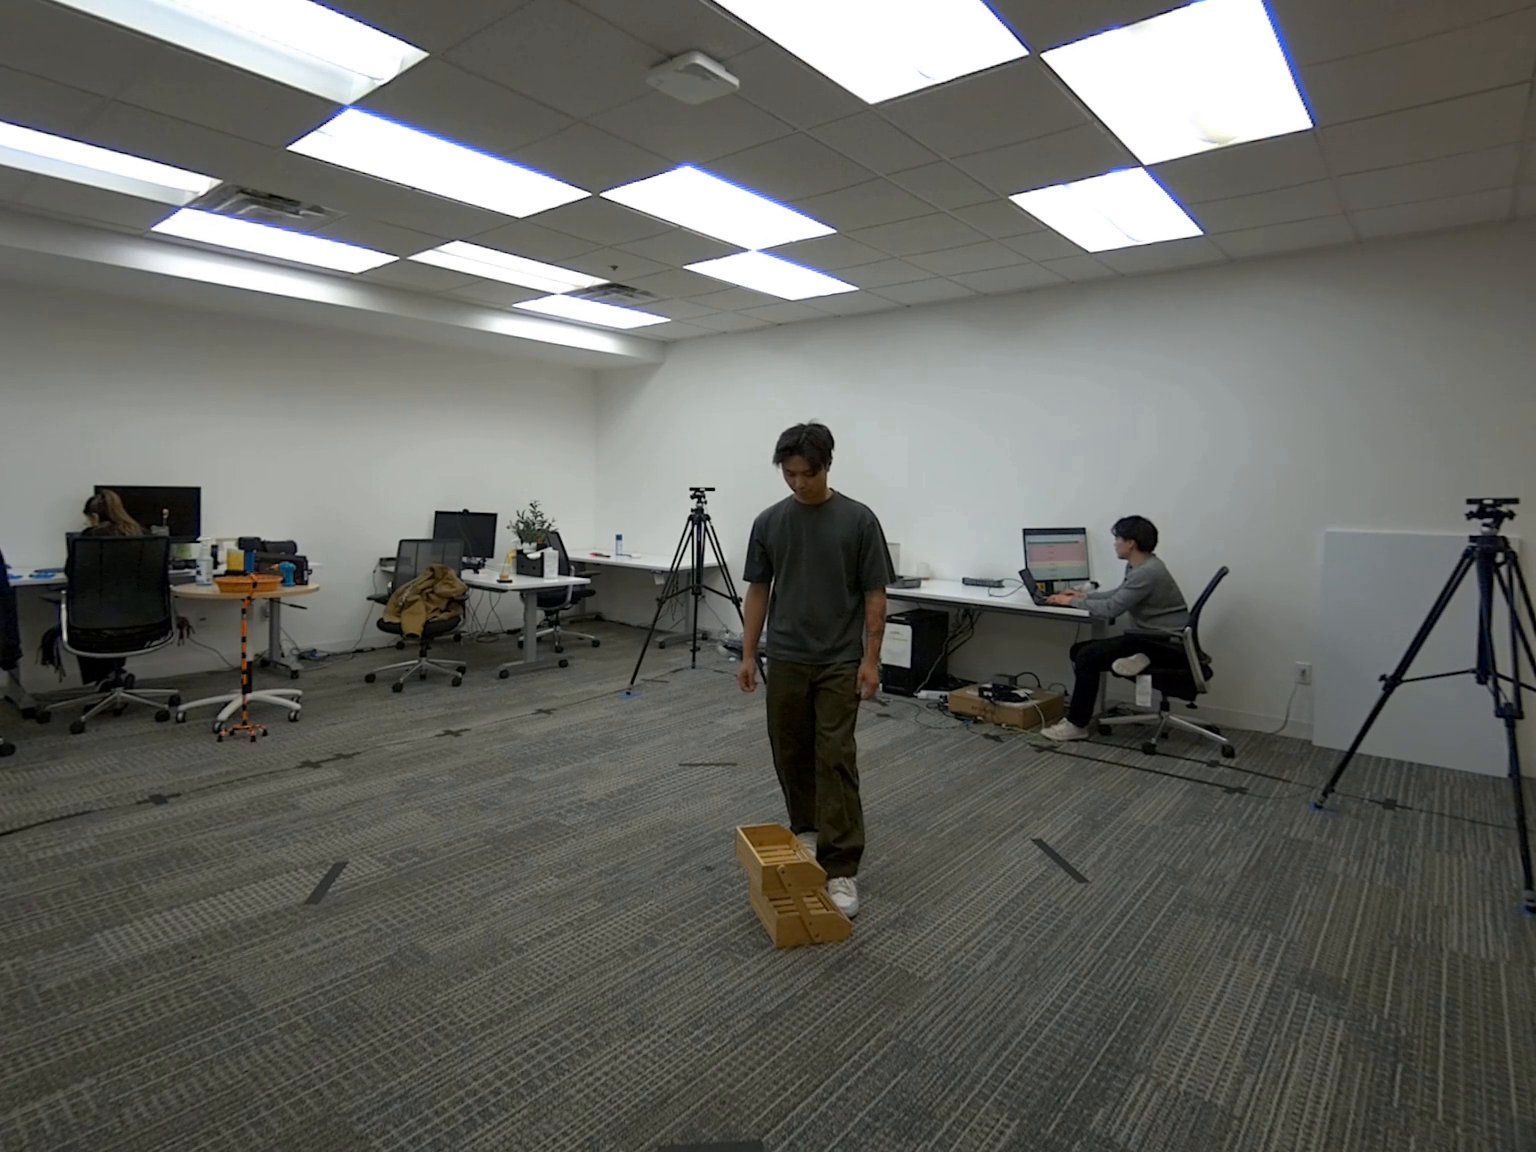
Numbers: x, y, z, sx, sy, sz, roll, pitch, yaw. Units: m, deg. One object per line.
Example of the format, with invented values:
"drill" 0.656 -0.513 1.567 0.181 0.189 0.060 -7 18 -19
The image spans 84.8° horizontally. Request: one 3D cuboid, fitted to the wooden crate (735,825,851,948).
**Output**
"wooden crate" 0.073 0.973 2.739 0.297 0.272 0.331 0 4 -17
